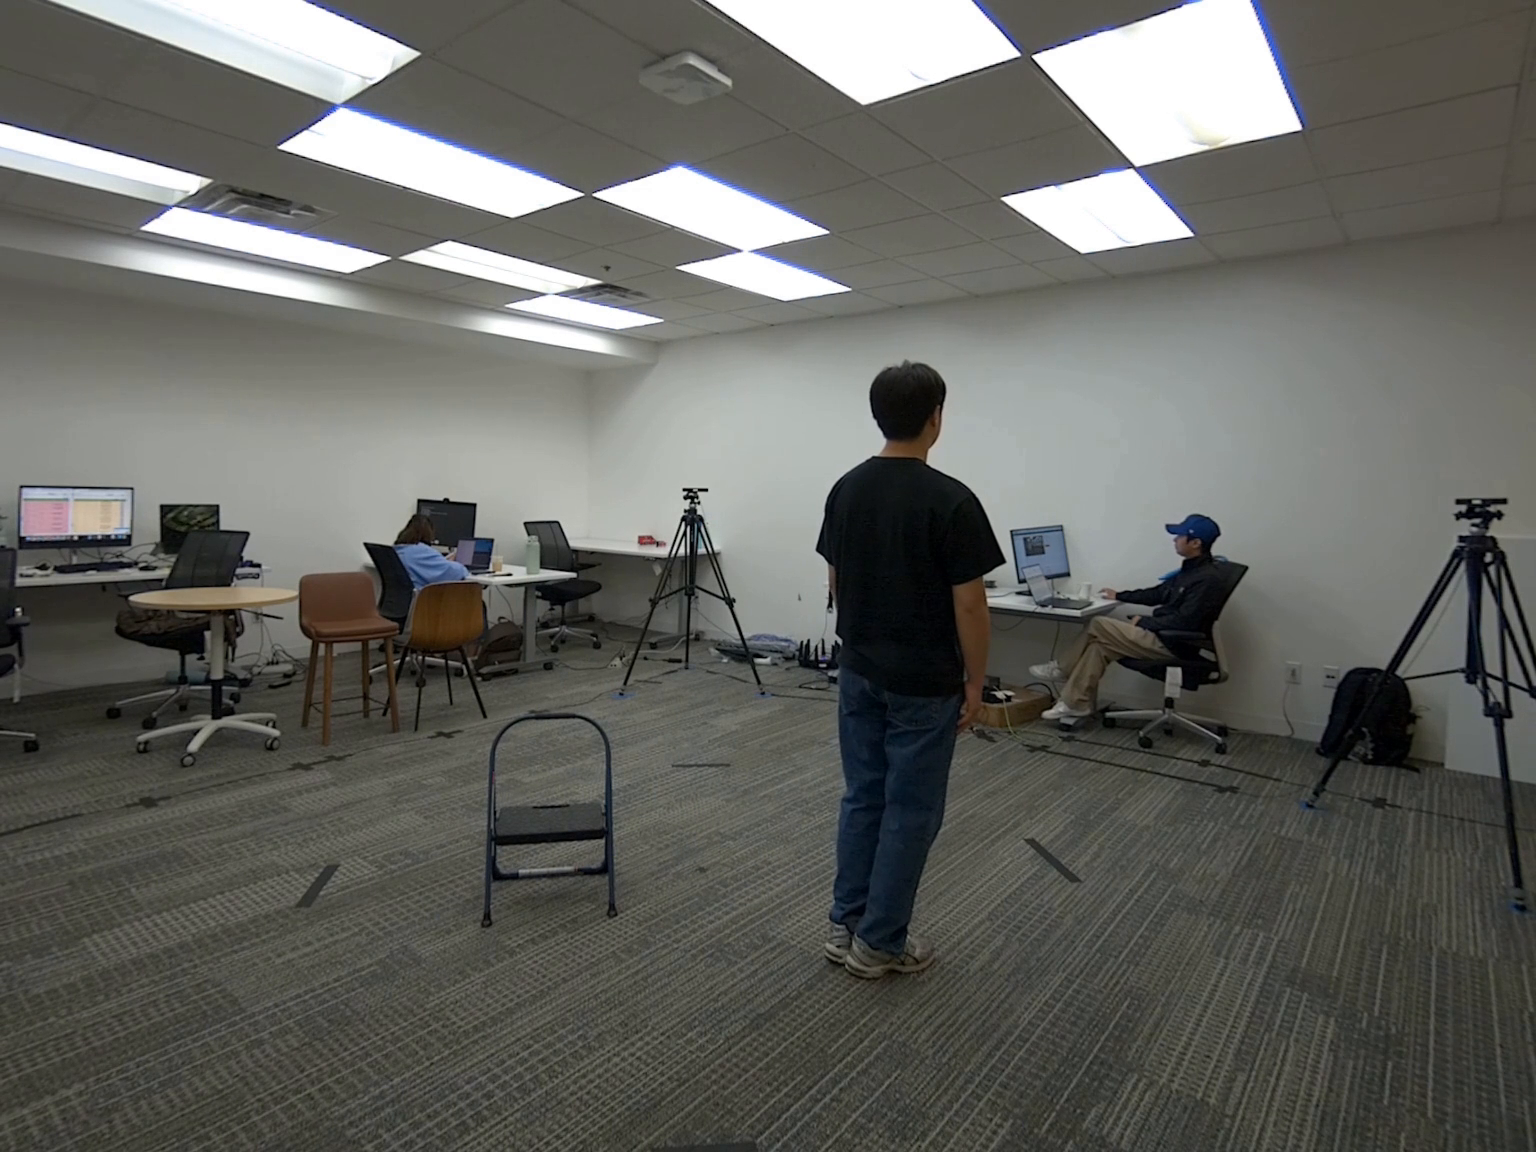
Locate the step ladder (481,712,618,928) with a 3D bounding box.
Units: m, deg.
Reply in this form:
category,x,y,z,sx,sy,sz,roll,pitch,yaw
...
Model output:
category,x,y,z,sx,sy,sz,roll,pitch,yaw
step ladder,-0.740,0.784,2.870,0.425,0.604,0.355,0,4,-13
